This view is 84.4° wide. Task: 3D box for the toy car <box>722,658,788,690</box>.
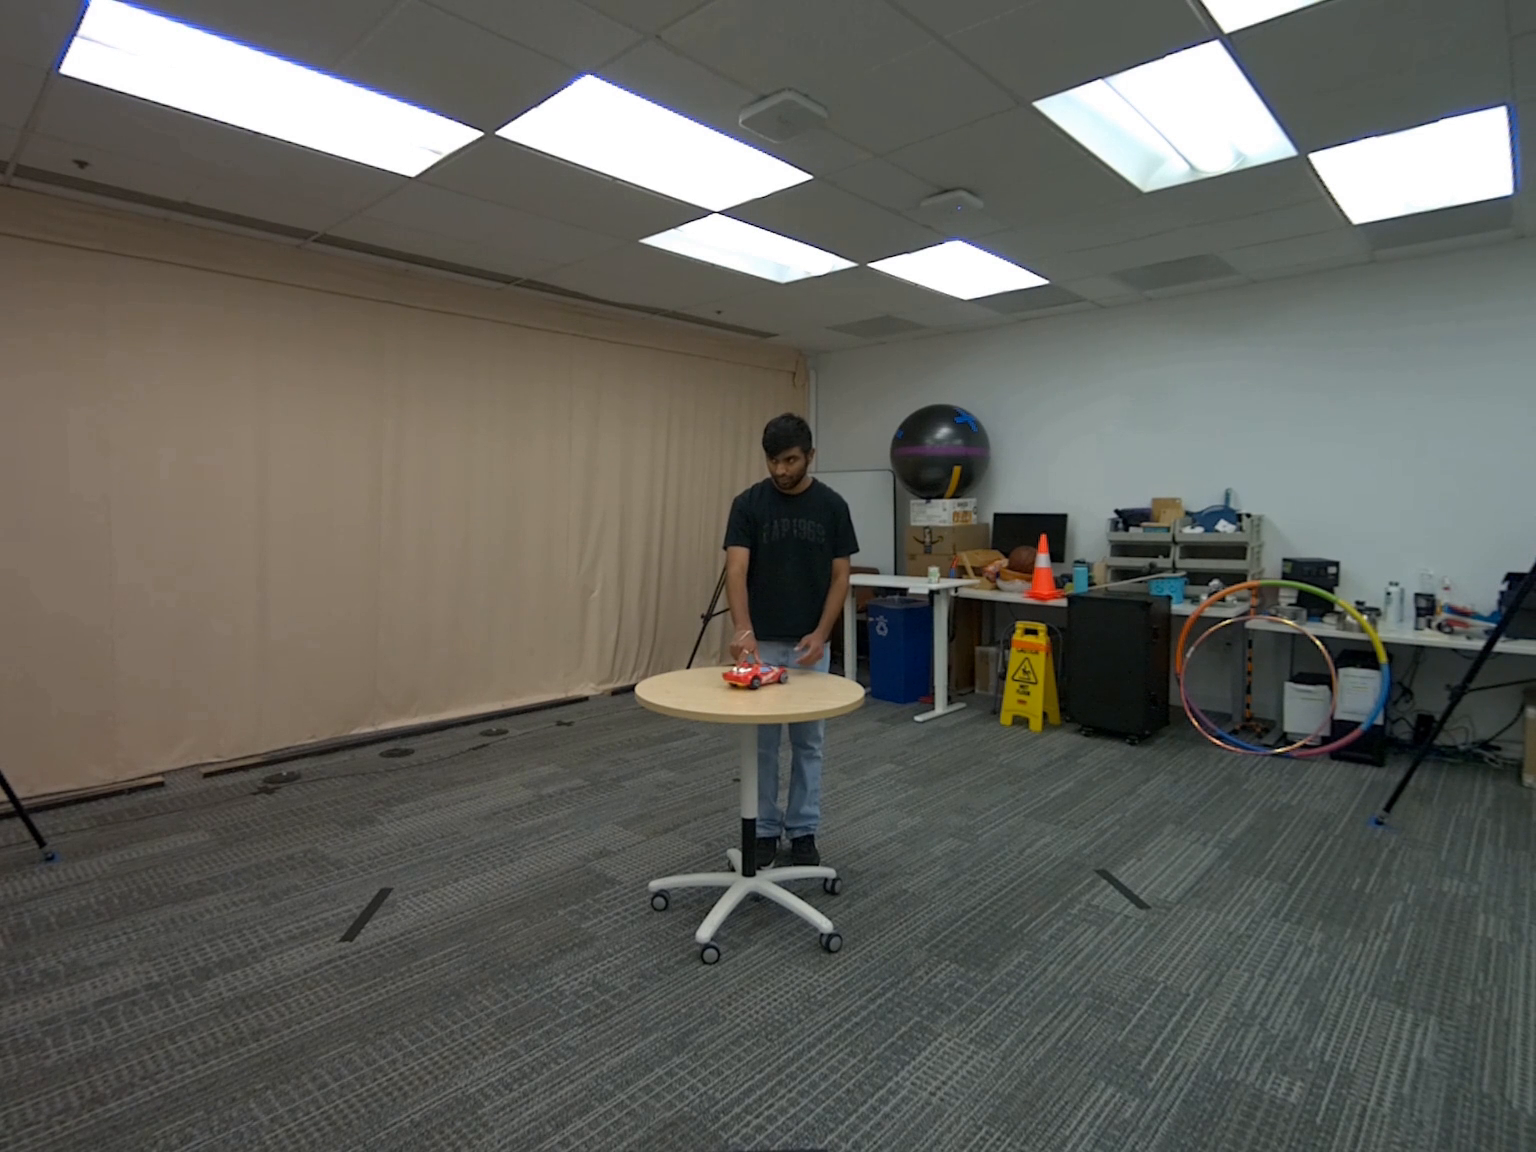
[{"bbox_3d":[-0.044,0.339,2.863,0.135,0.083,0.246,4,-5,44],"label":"toy car"}]
